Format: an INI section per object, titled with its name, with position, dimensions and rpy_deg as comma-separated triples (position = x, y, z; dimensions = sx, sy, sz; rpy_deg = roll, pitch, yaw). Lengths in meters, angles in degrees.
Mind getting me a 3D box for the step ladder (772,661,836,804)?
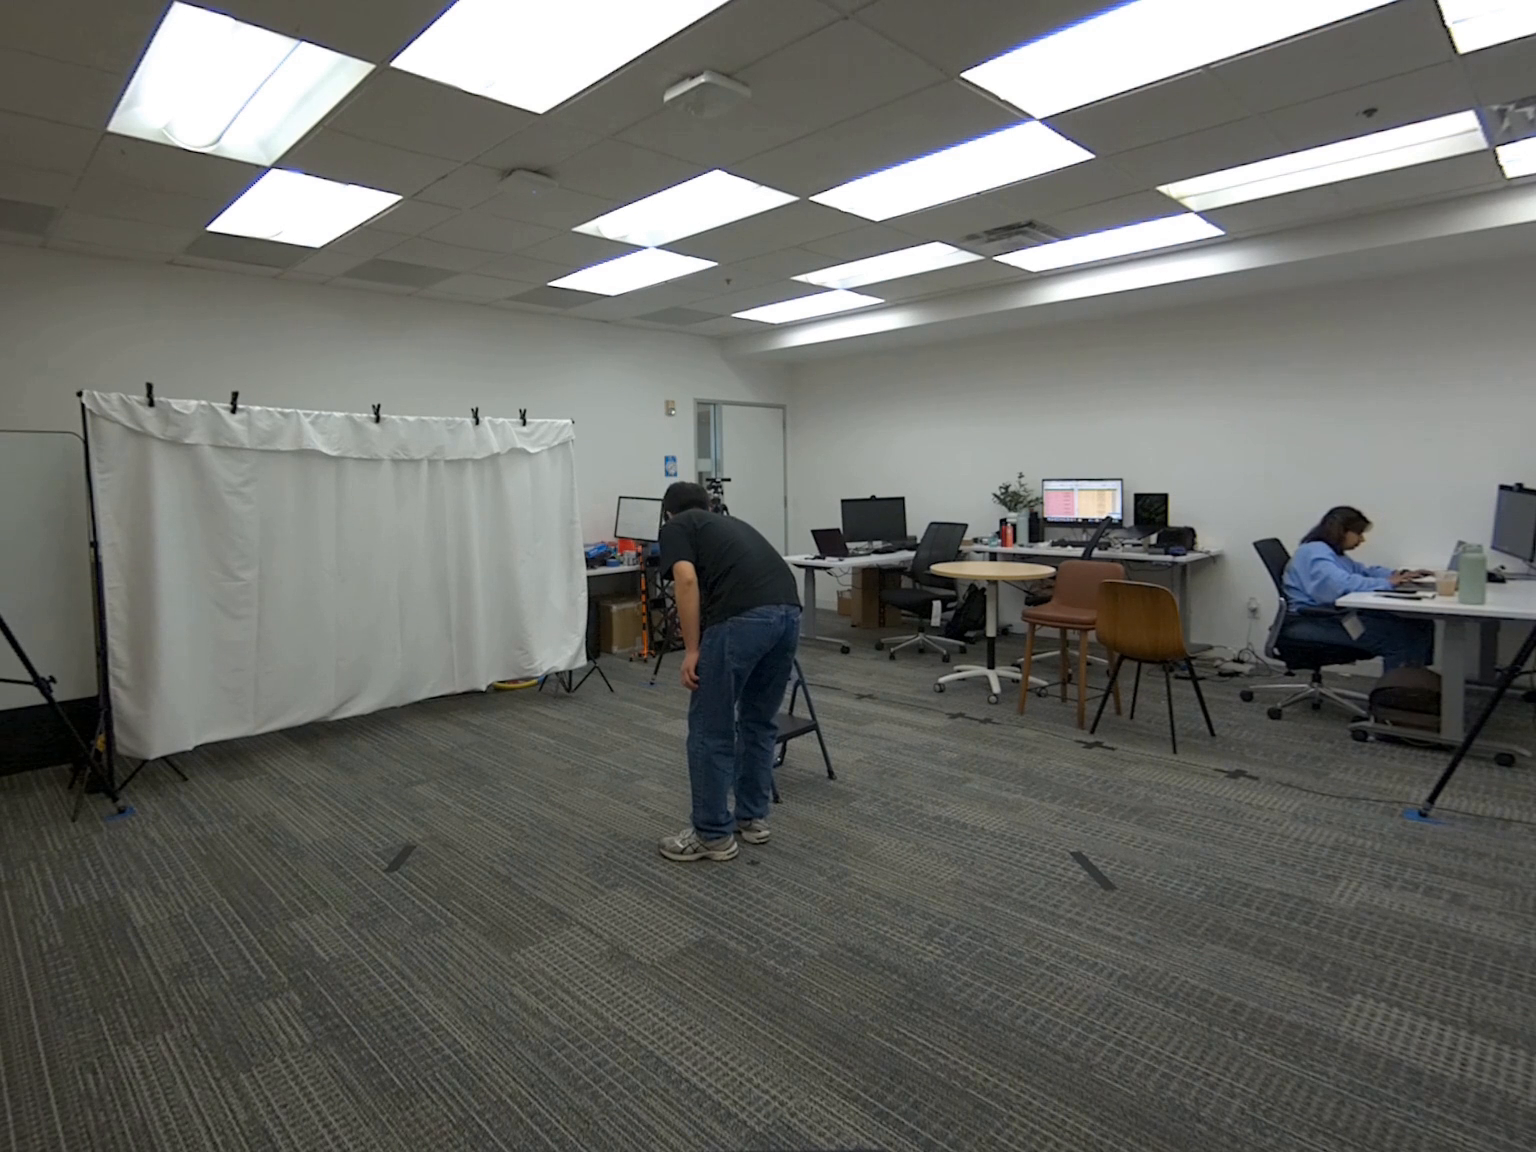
[step ladder]
position = 0.051, 0.647, 3.918
dimensions = 0.360, 0.604, 0.419
rpy_deg = 3, 6, 41
